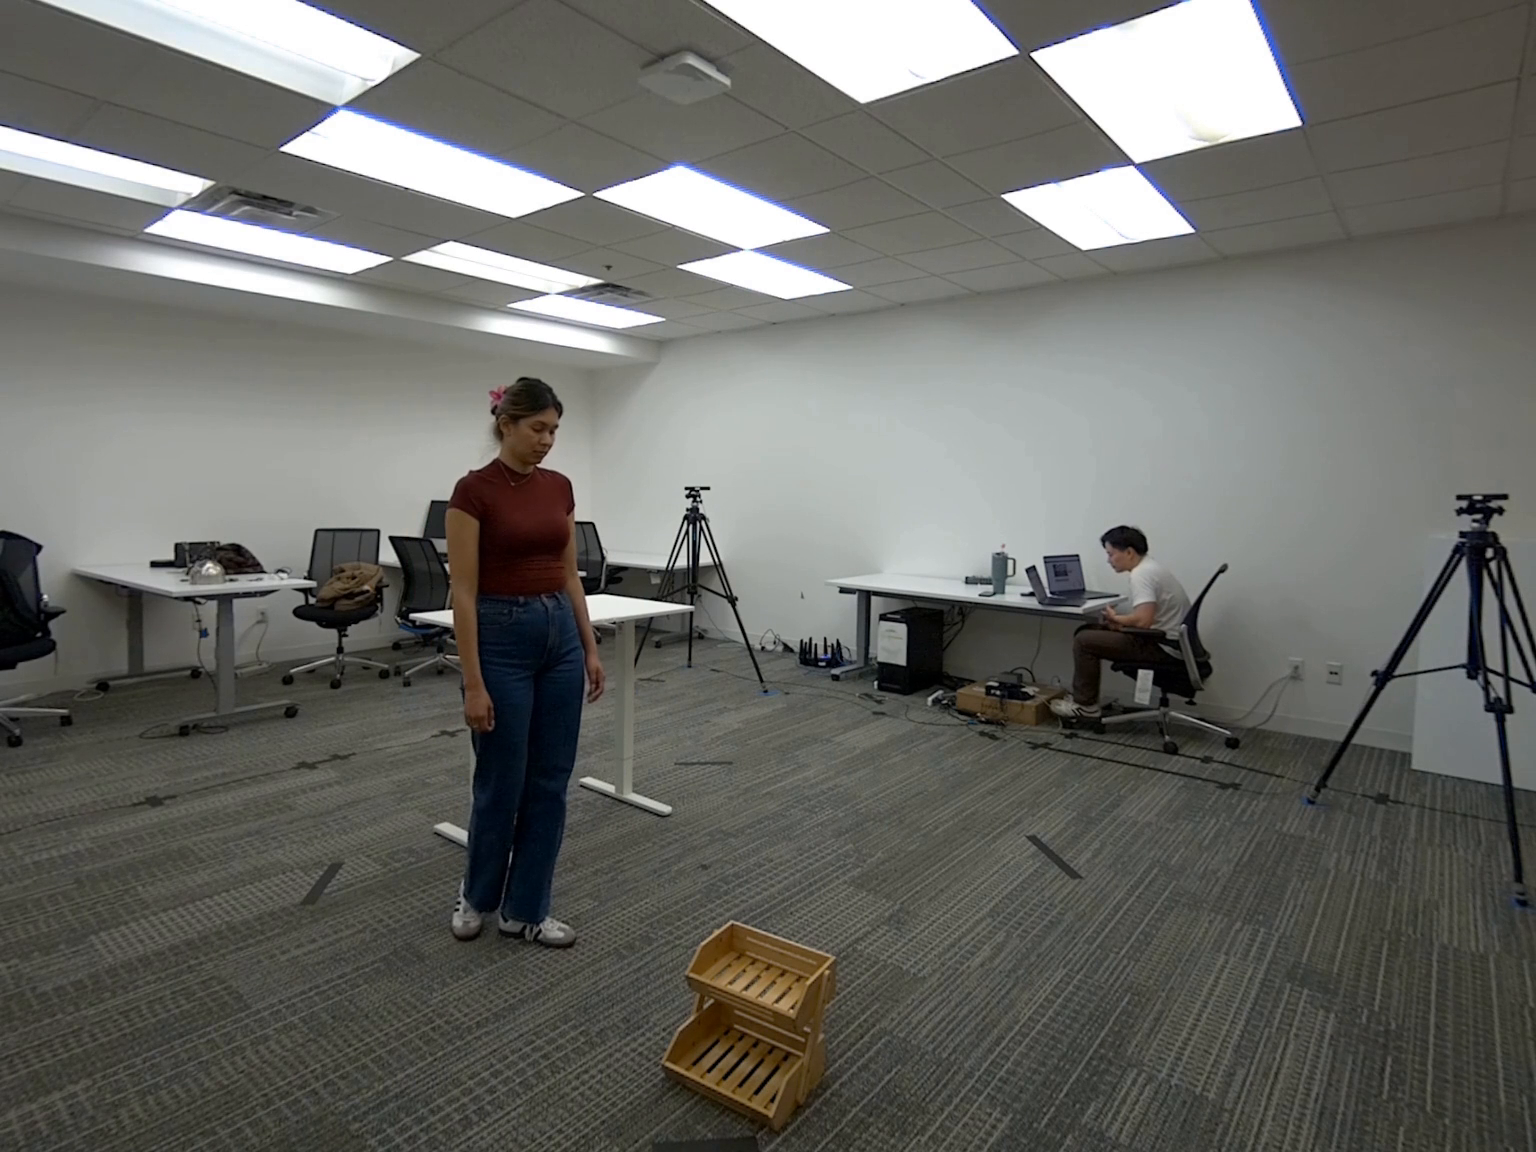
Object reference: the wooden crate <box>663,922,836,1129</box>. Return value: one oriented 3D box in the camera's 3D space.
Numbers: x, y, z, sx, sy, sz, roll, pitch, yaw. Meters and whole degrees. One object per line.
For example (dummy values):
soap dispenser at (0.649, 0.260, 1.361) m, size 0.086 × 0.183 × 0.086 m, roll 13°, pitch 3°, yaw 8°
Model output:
wooden crate at (-0.048, 1.047, 2.023) m, size 0.334 × 0.272 × 0.294 m, roll 4°, pitch 5°, yaw 32°
